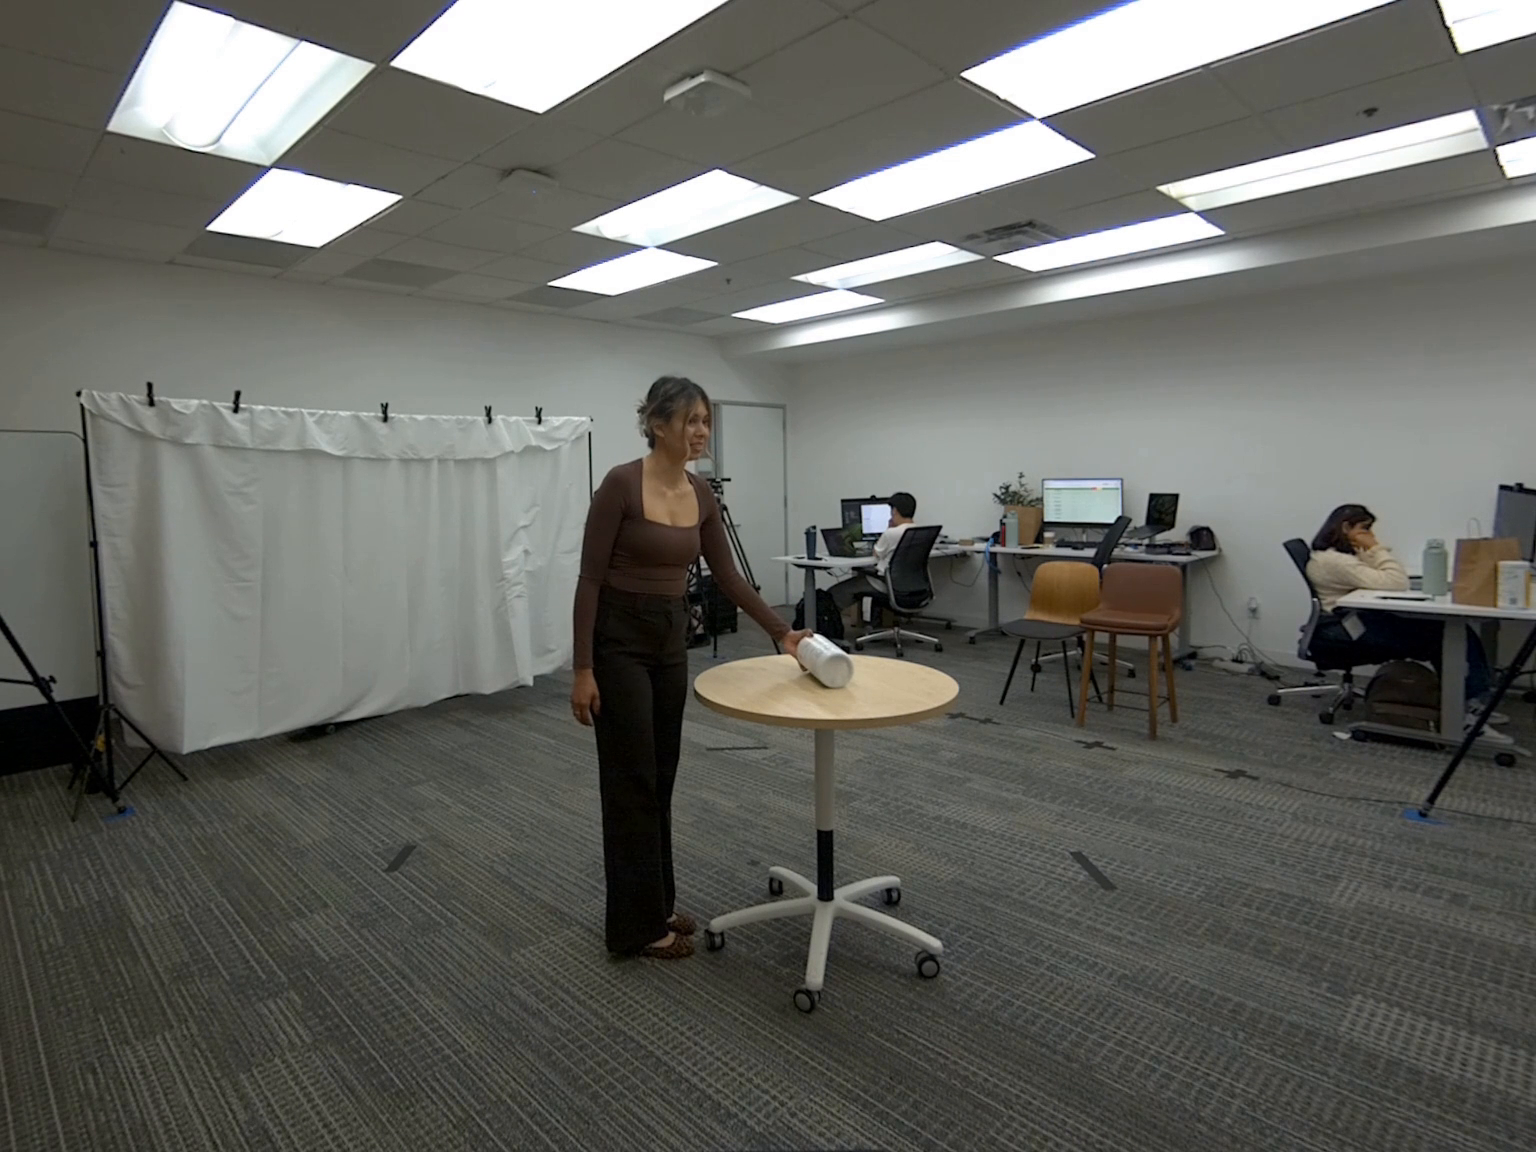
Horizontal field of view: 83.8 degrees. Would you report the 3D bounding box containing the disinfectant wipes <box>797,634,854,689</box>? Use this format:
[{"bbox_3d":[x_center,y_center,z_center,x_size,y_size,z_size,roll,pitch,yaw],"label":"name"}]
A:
[{"bbox_3d":[0.161,0.249,2.517,0.116,0.117,0.222,-2,9,-17],"label":"disinfectant wipes"}]
